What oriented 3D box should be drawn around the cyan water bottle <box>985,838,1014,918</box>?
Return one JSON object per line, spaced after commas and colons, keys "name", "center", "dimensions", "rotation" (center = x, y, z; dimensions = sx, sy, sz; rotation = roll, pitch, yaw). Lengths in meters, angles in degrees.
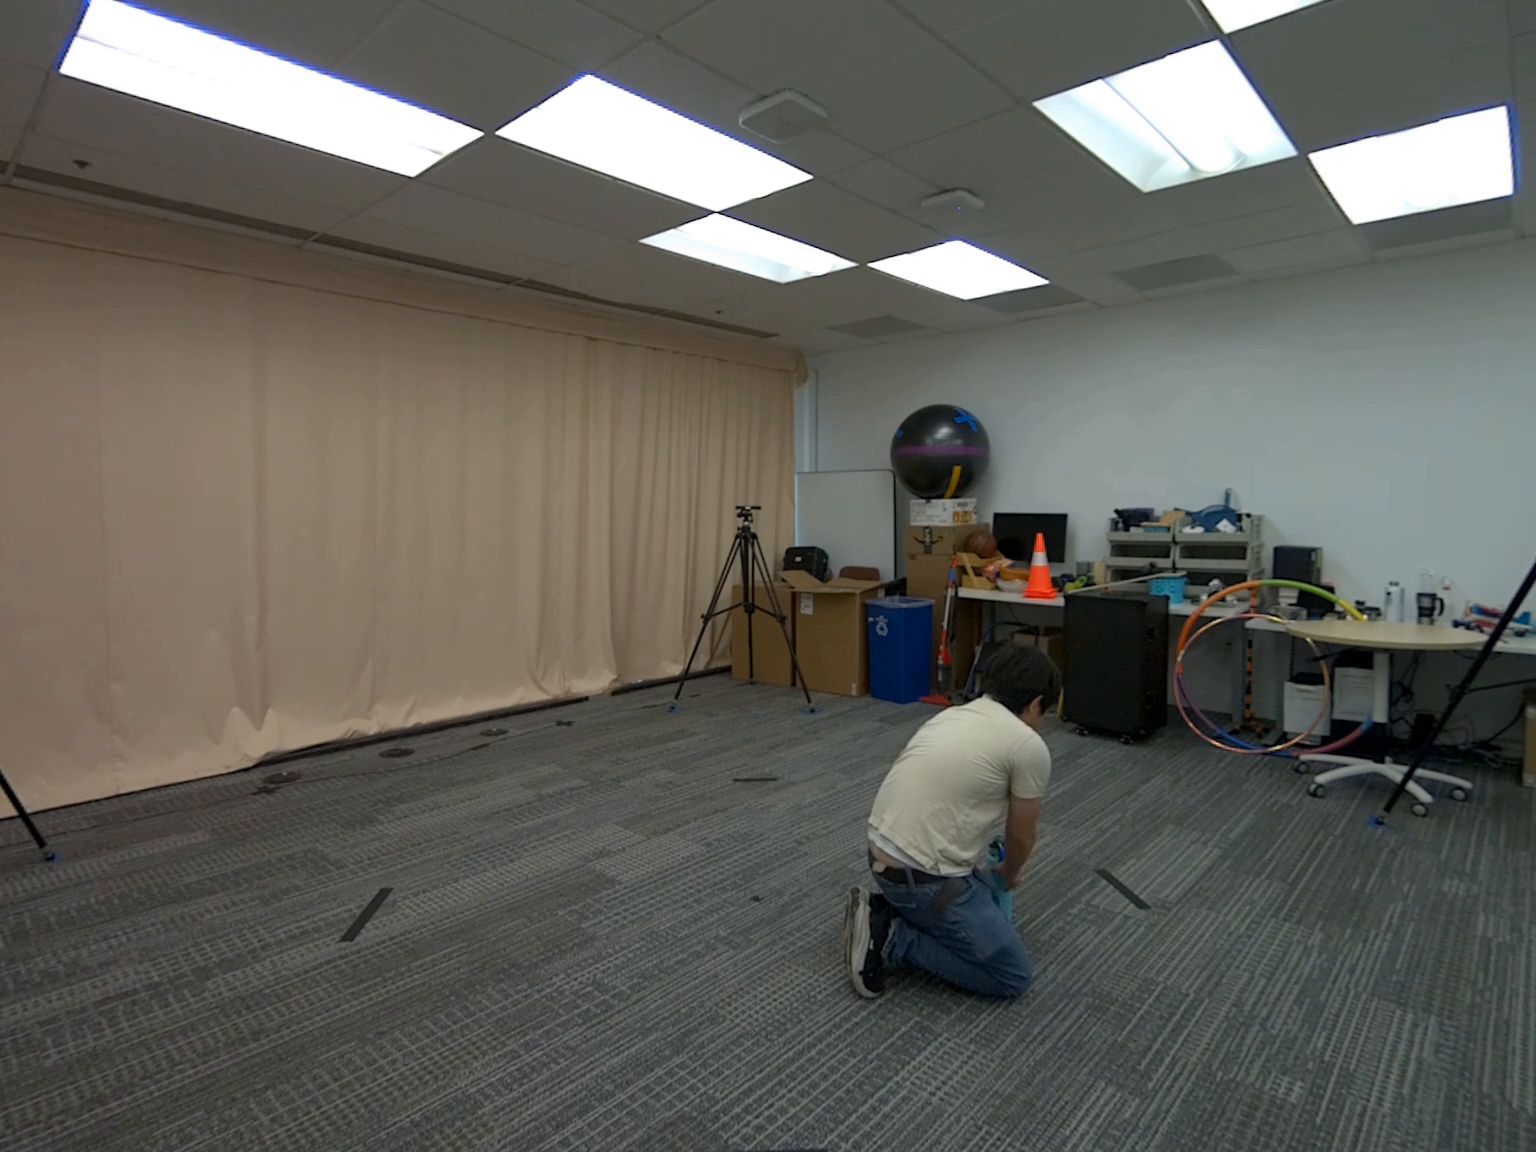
{"name": "cyan water bottle", "center": [0.787, 1.020, 2.792], "dimensions": [0.092, 0.283, 0.092], "rotation": [0, 3, -2]}
